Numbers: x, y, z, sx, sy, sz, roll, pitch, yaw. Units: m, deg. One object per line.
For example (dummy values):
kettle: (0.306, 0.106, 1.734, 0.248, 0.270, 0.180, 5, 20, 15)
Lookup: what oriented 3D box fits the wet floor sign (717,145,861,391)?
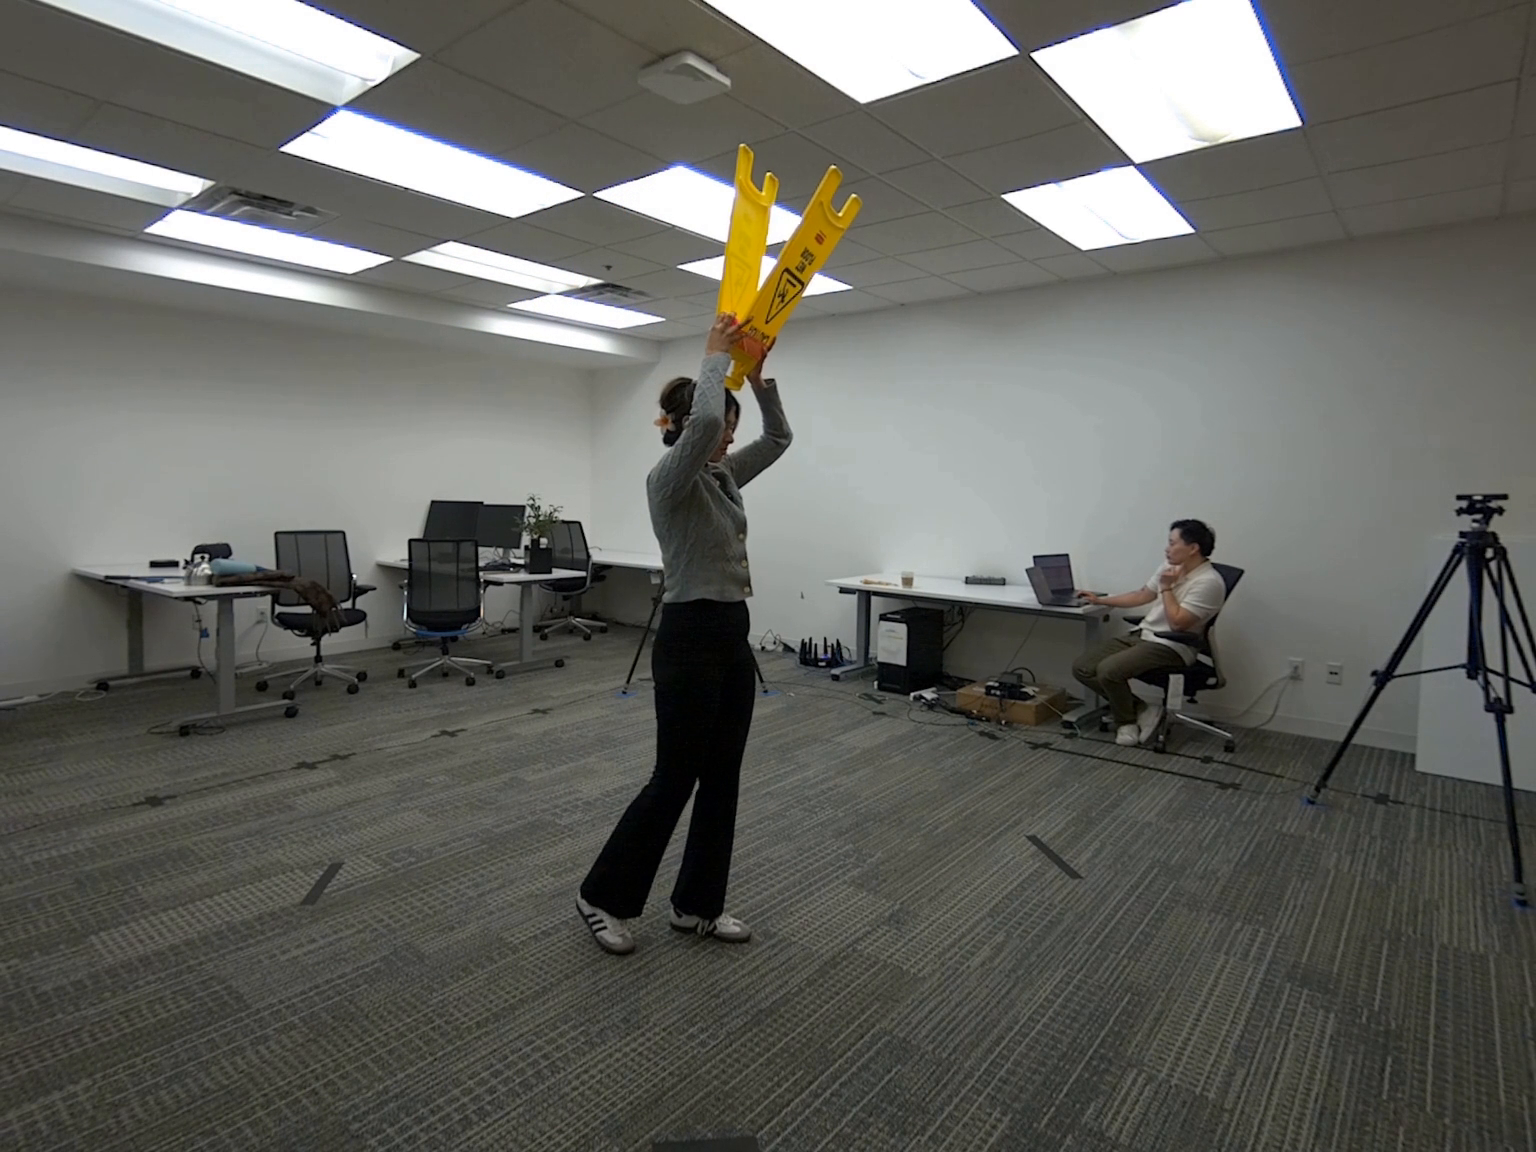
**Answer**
wet floor sign: (-0.026, -0.860, 2.488, 0.298, 0.643, 0.275, 26, 10, 21)
